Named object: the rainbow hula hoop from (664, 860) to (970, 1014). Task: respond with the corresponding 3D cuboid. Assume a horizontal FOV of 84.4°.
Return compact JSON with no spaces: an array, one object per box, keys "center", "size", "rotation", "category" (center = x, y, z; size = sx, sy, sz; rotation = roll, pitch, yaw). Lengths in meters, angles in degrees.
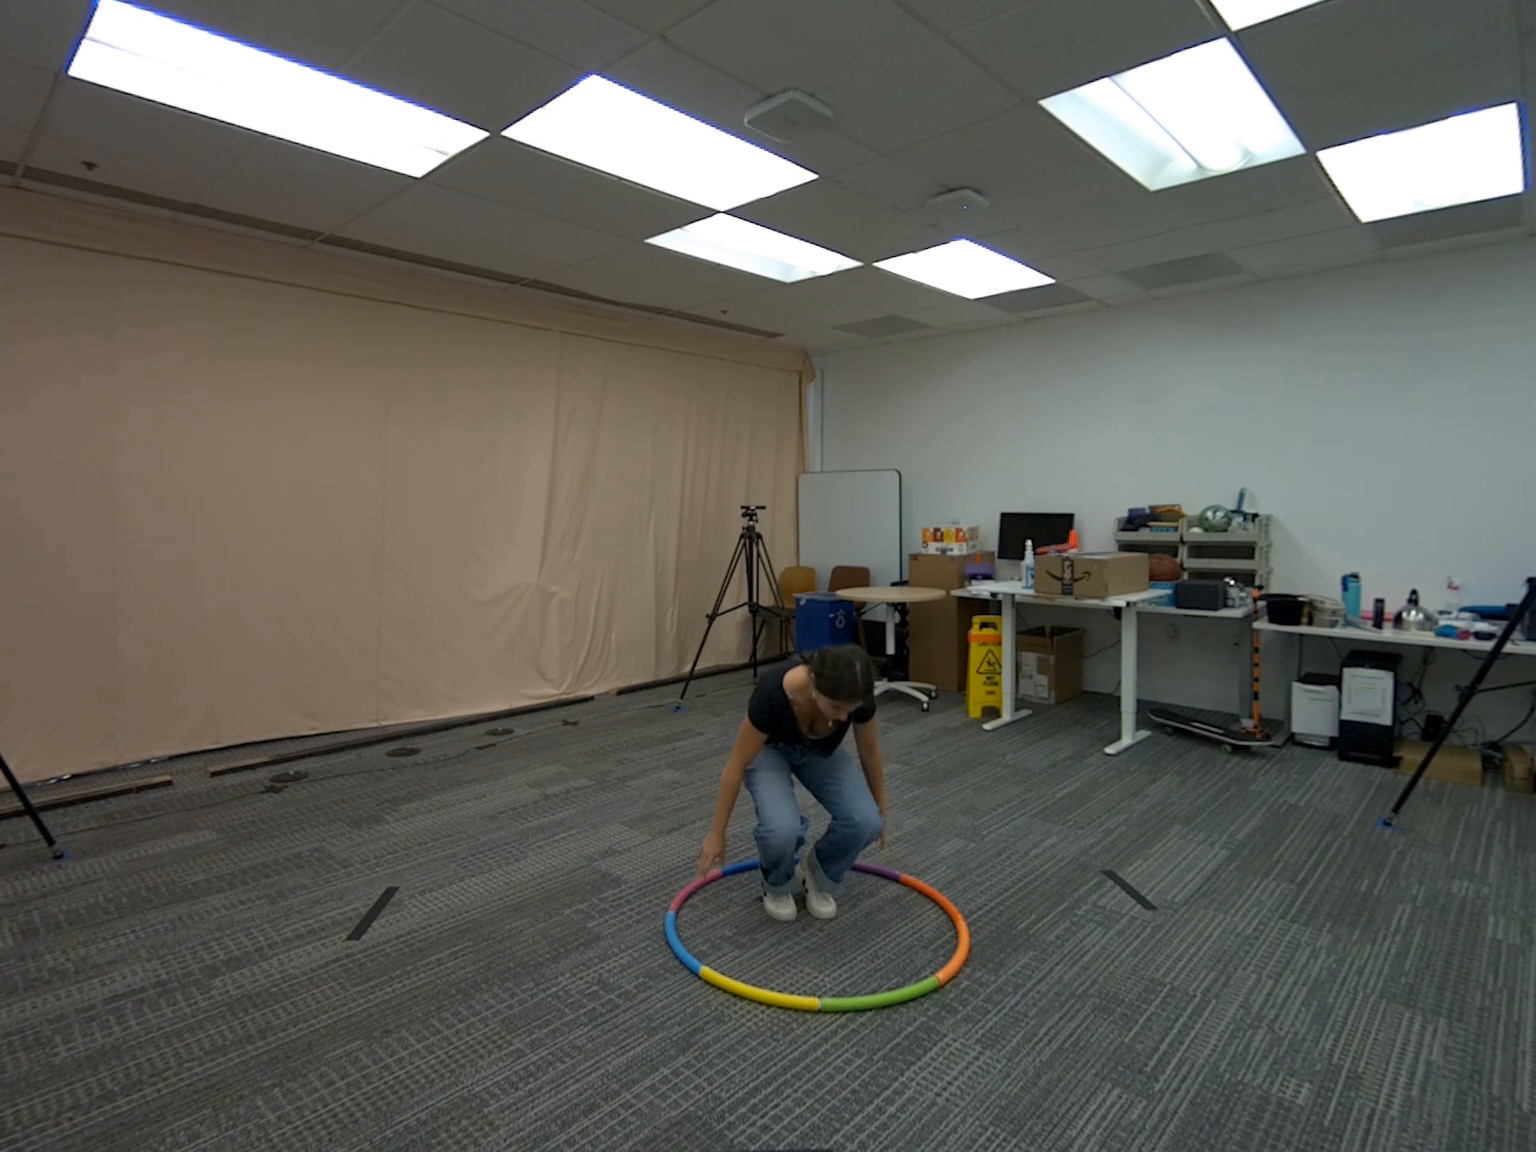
[{"center":[0.162,1.130,2.795],"size":[0.978,0.035,0.982],"rotation":[0,5,-2],"category":"rainbow hula hoop"}]
